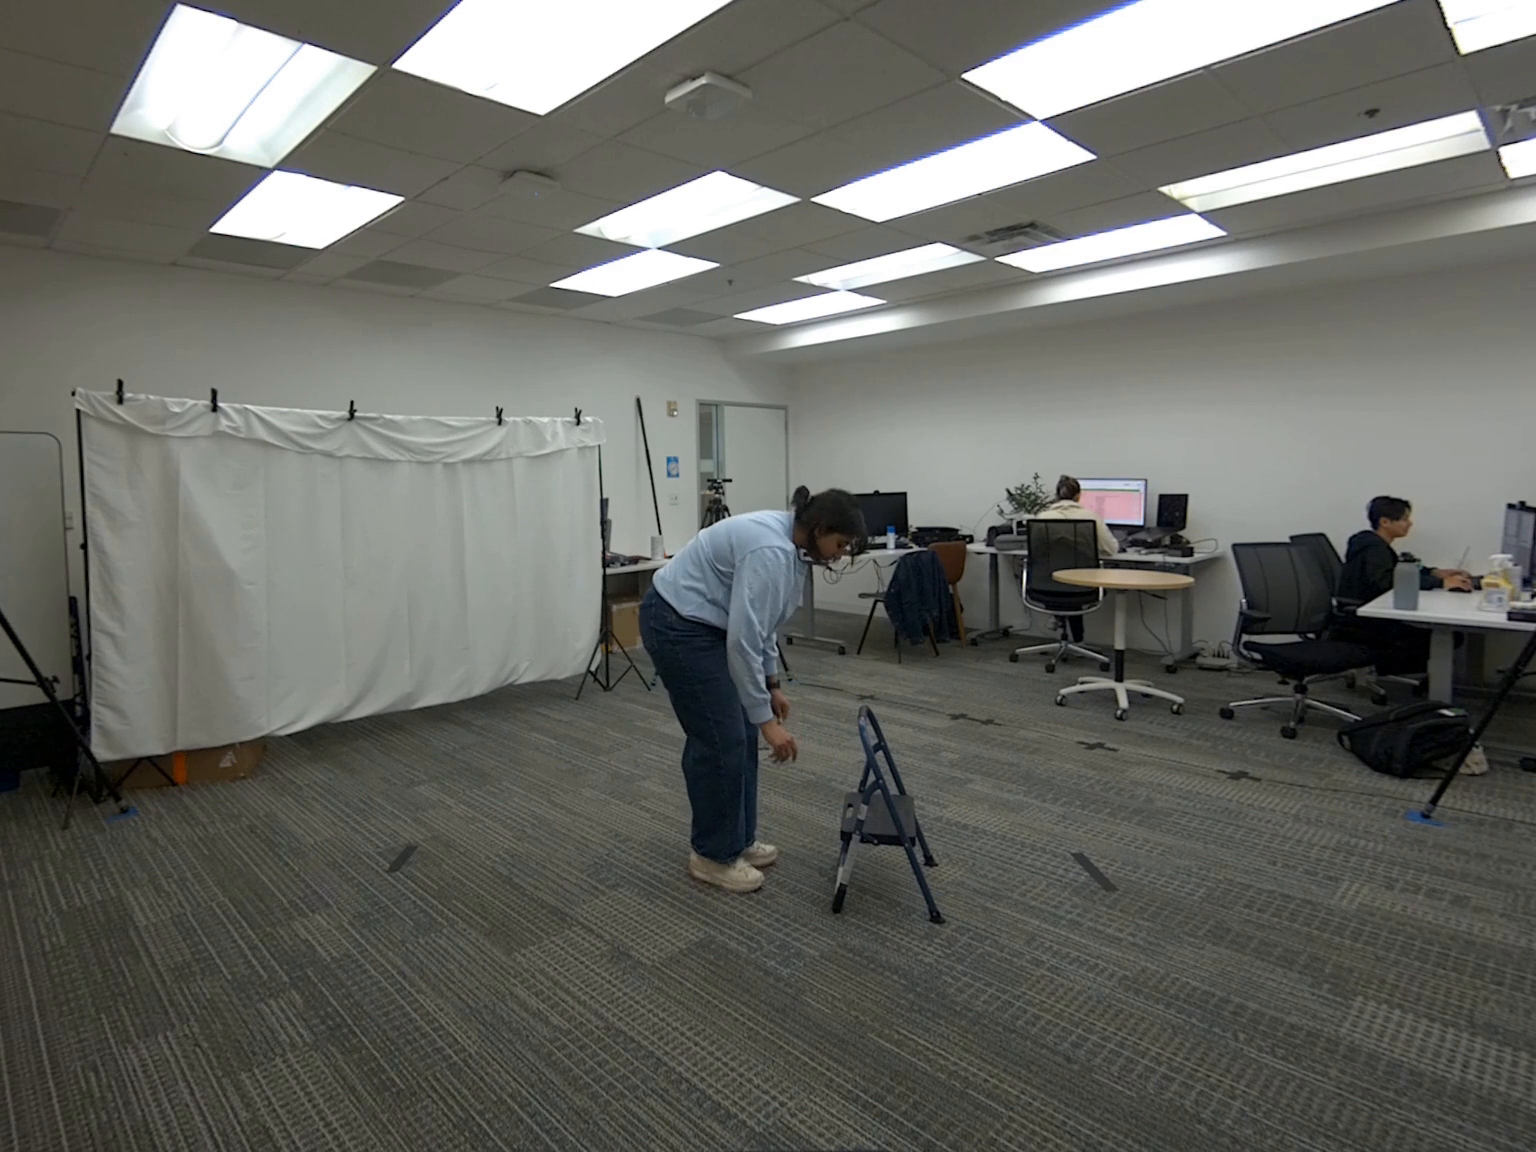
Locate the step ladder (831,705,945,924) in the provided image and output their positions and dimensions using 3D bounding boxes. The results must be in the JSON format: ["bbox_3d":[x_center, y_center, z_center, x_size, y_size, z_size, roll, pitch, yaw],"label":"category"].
[{"bbox_3d":[0.403,0.758,2.886,0.353,0.604,0.428,0,4,10],"label":"step ladder"}]
